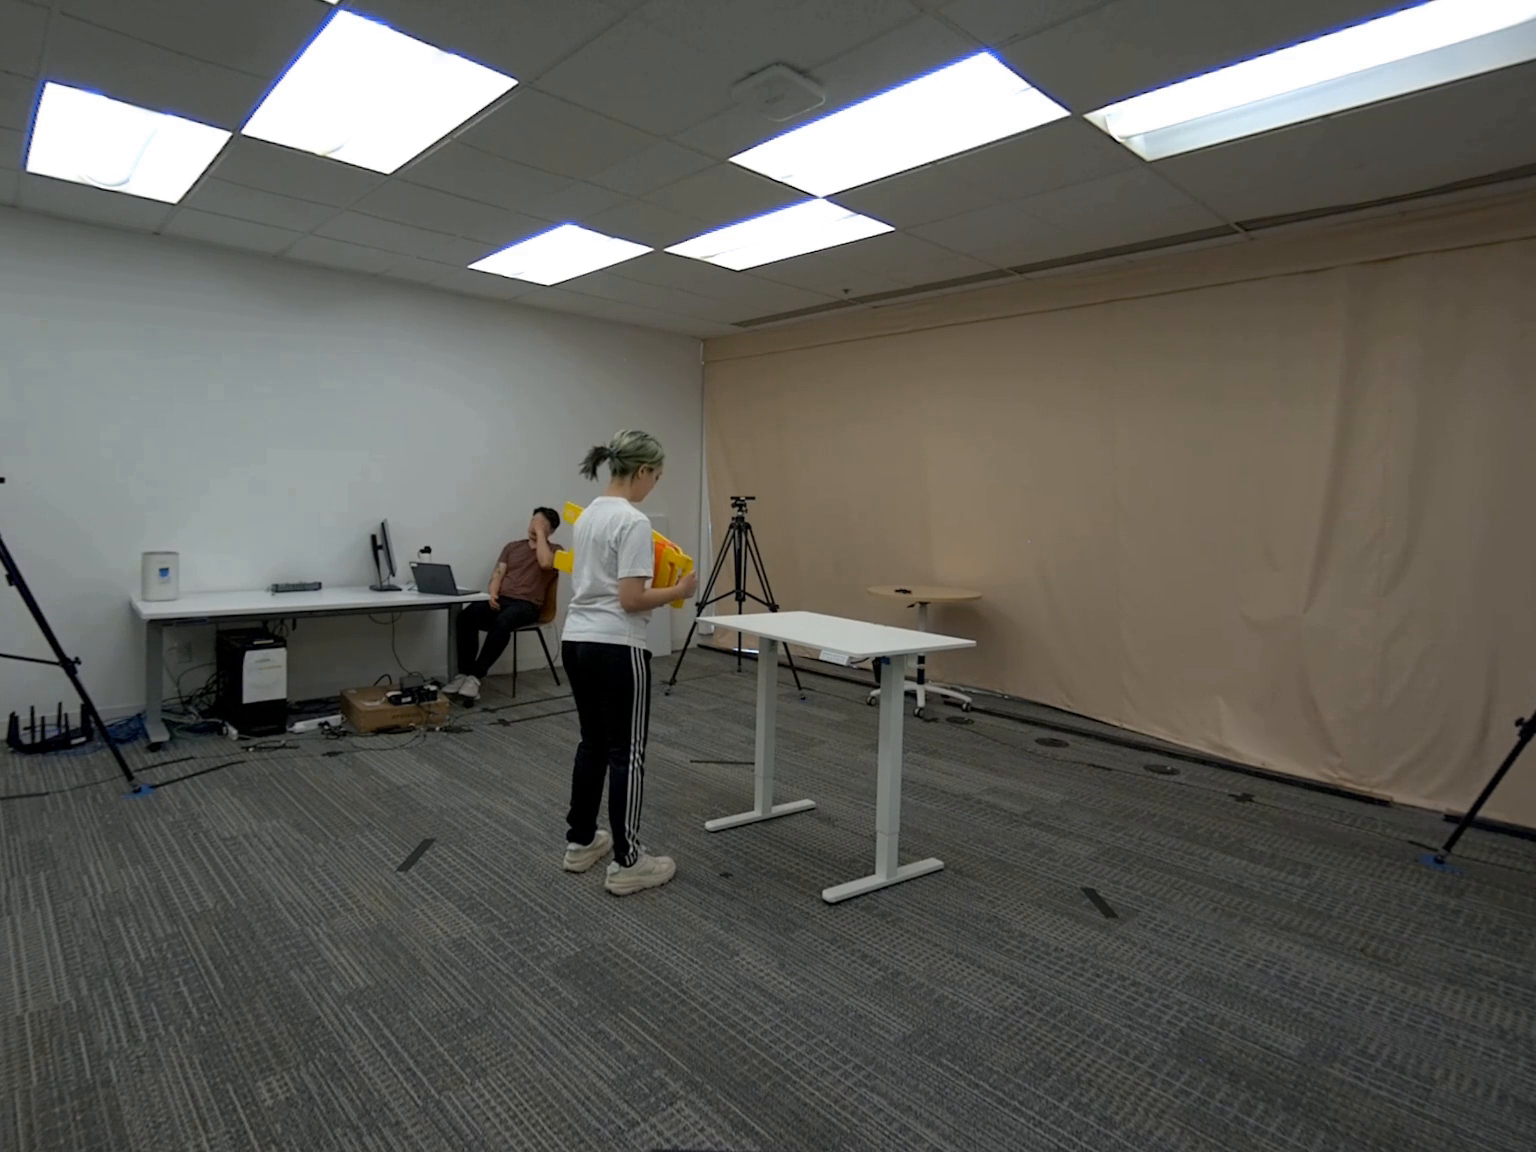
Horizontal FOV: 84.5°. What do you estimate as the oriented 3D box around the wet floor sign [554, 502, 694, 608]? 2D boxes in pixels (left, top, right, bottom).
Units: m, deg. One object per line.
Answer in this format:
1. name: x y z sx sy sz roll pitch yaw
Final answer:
1. wet floor sign: -0.540 -0.064 3.298 0.666 0.280 0.283 23 16 39
